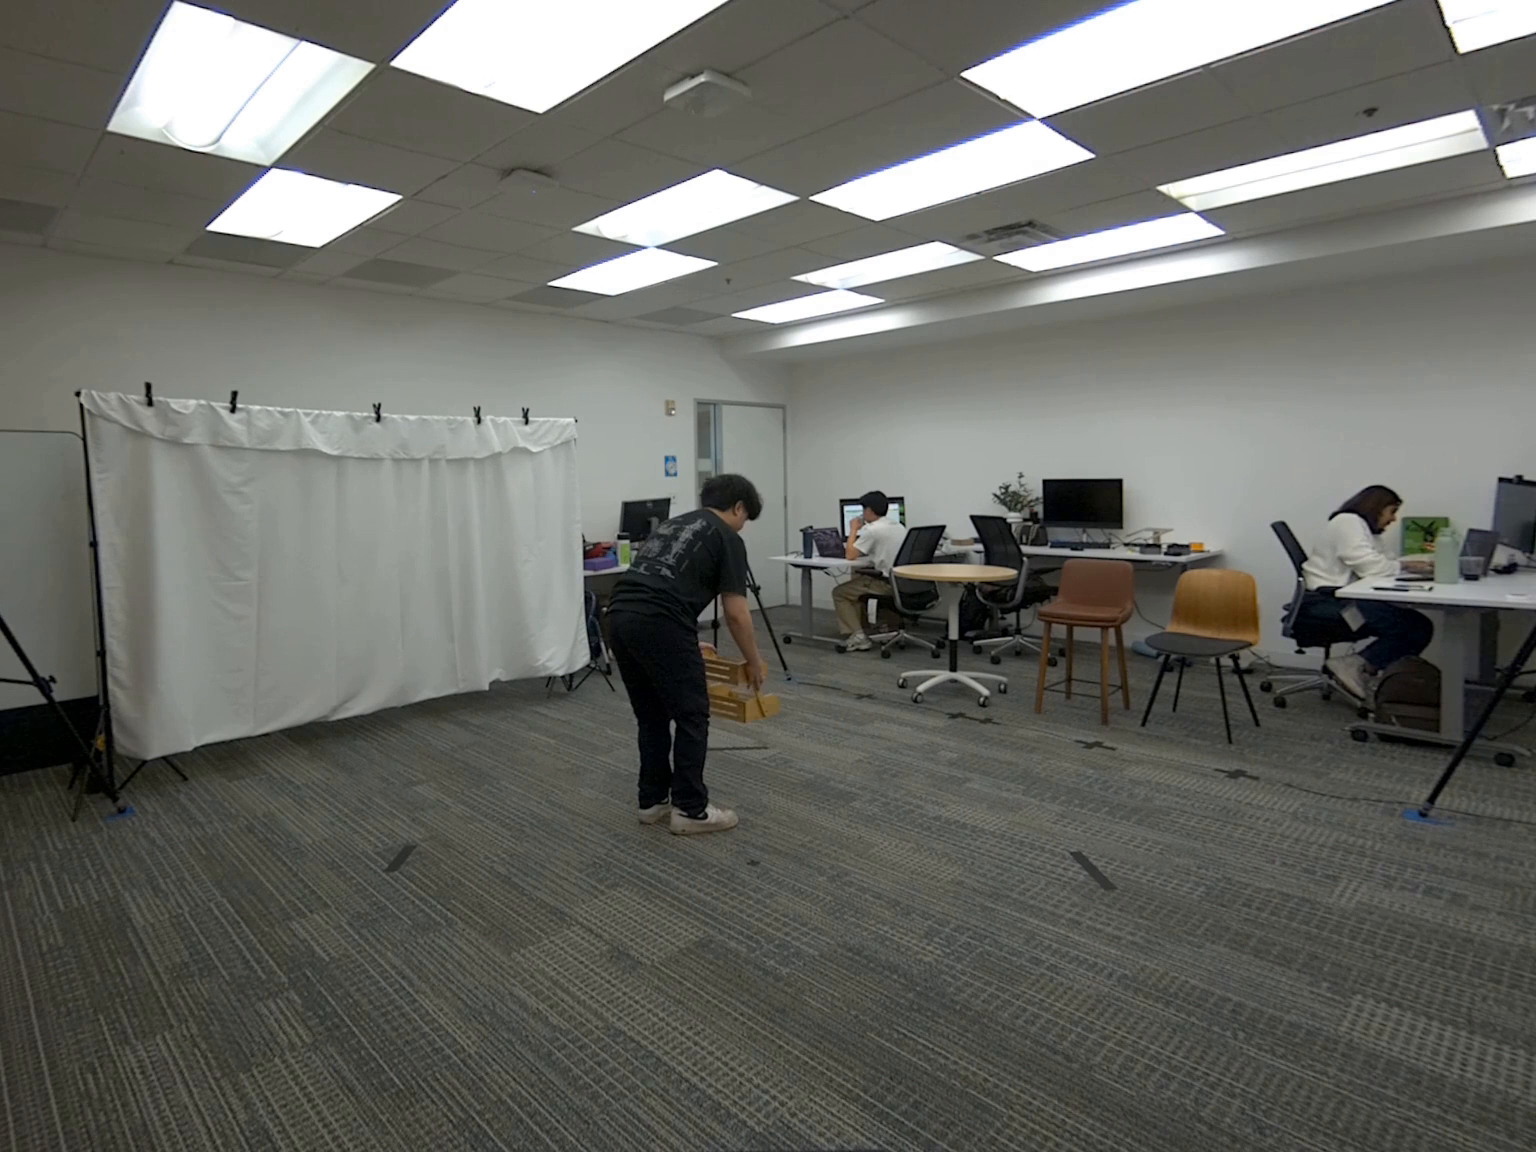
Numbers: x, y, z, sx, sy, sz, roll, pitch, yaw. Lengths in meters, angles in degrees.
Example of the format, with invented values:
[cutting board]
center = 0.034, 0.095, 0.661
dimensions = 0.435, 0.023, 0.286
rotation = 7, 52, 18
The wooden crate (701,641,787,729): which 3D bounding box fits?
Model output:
[wooden crate]
center = -0.144, 0.461, 3.726
dimensions = 0.334, 0.272, 0.294
rotation = 4, 8, 39
